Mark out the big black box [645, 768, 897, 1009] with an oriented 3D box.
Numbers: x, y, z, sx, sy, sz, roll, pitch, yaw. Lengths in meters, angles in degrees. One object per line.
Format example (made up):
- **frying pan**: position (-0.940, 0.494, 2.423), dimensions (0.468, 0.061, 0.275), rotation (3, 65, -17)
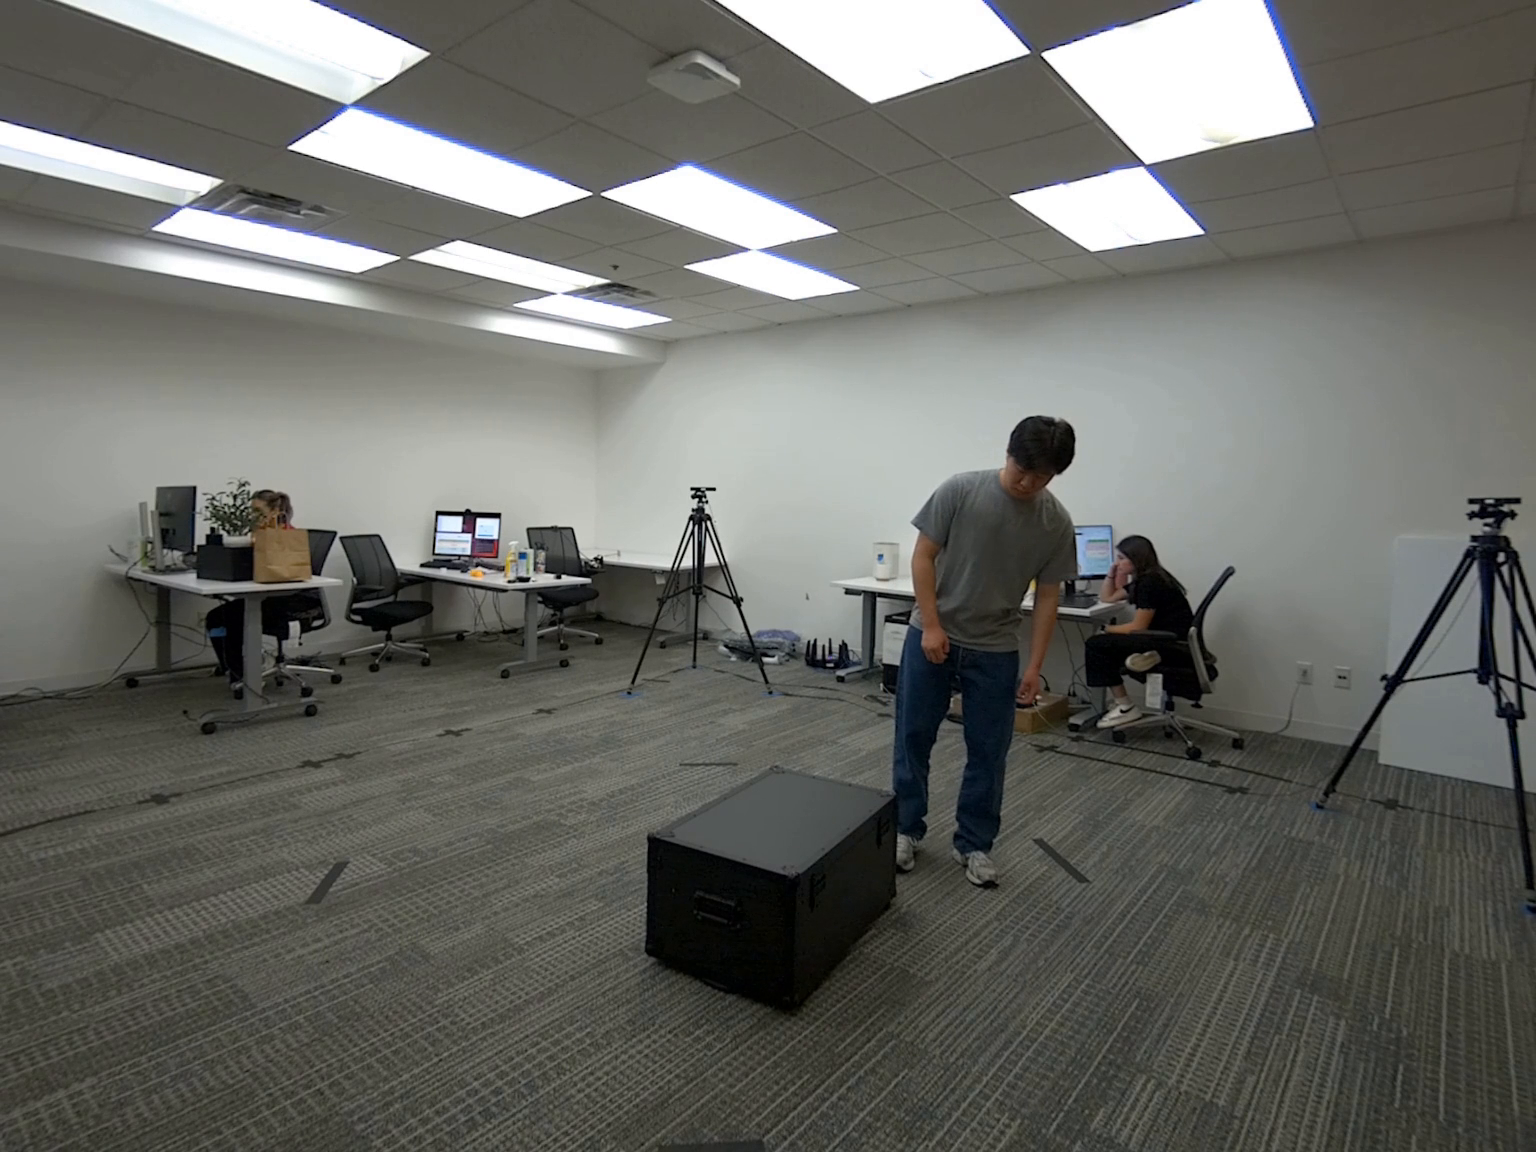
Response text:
- **big black box**: position (0.050, 0.921, 2.698), dimensions (0.536, 0.395, 0.839), rotation (3, 5, 29)
